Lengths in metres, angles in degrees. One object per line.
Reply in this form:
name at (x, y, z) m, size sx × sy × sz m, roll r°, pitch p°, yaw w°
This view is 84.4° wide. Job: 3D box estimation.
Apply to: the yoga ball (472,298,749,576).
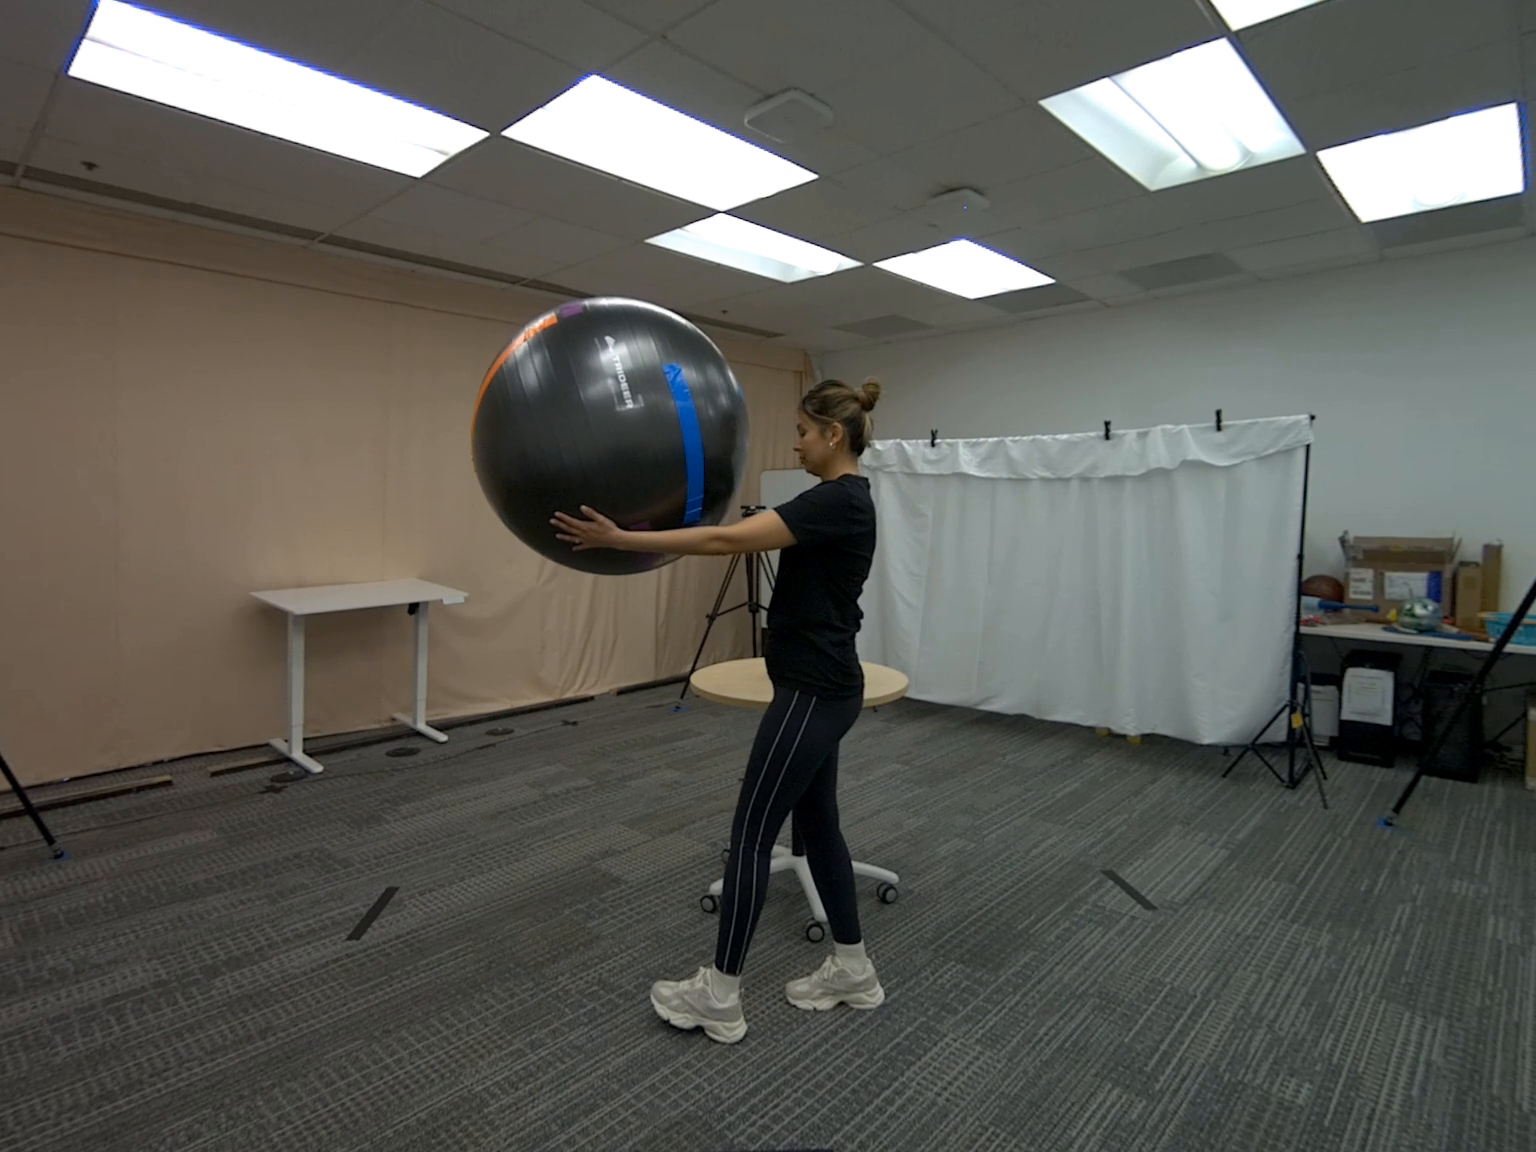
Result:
yoga ball at (-0.428, -0.378, 2.332) m, size 0.757 × 0.756 × 0.761 m, roll 0°, pitch 4°, yaw -2°
